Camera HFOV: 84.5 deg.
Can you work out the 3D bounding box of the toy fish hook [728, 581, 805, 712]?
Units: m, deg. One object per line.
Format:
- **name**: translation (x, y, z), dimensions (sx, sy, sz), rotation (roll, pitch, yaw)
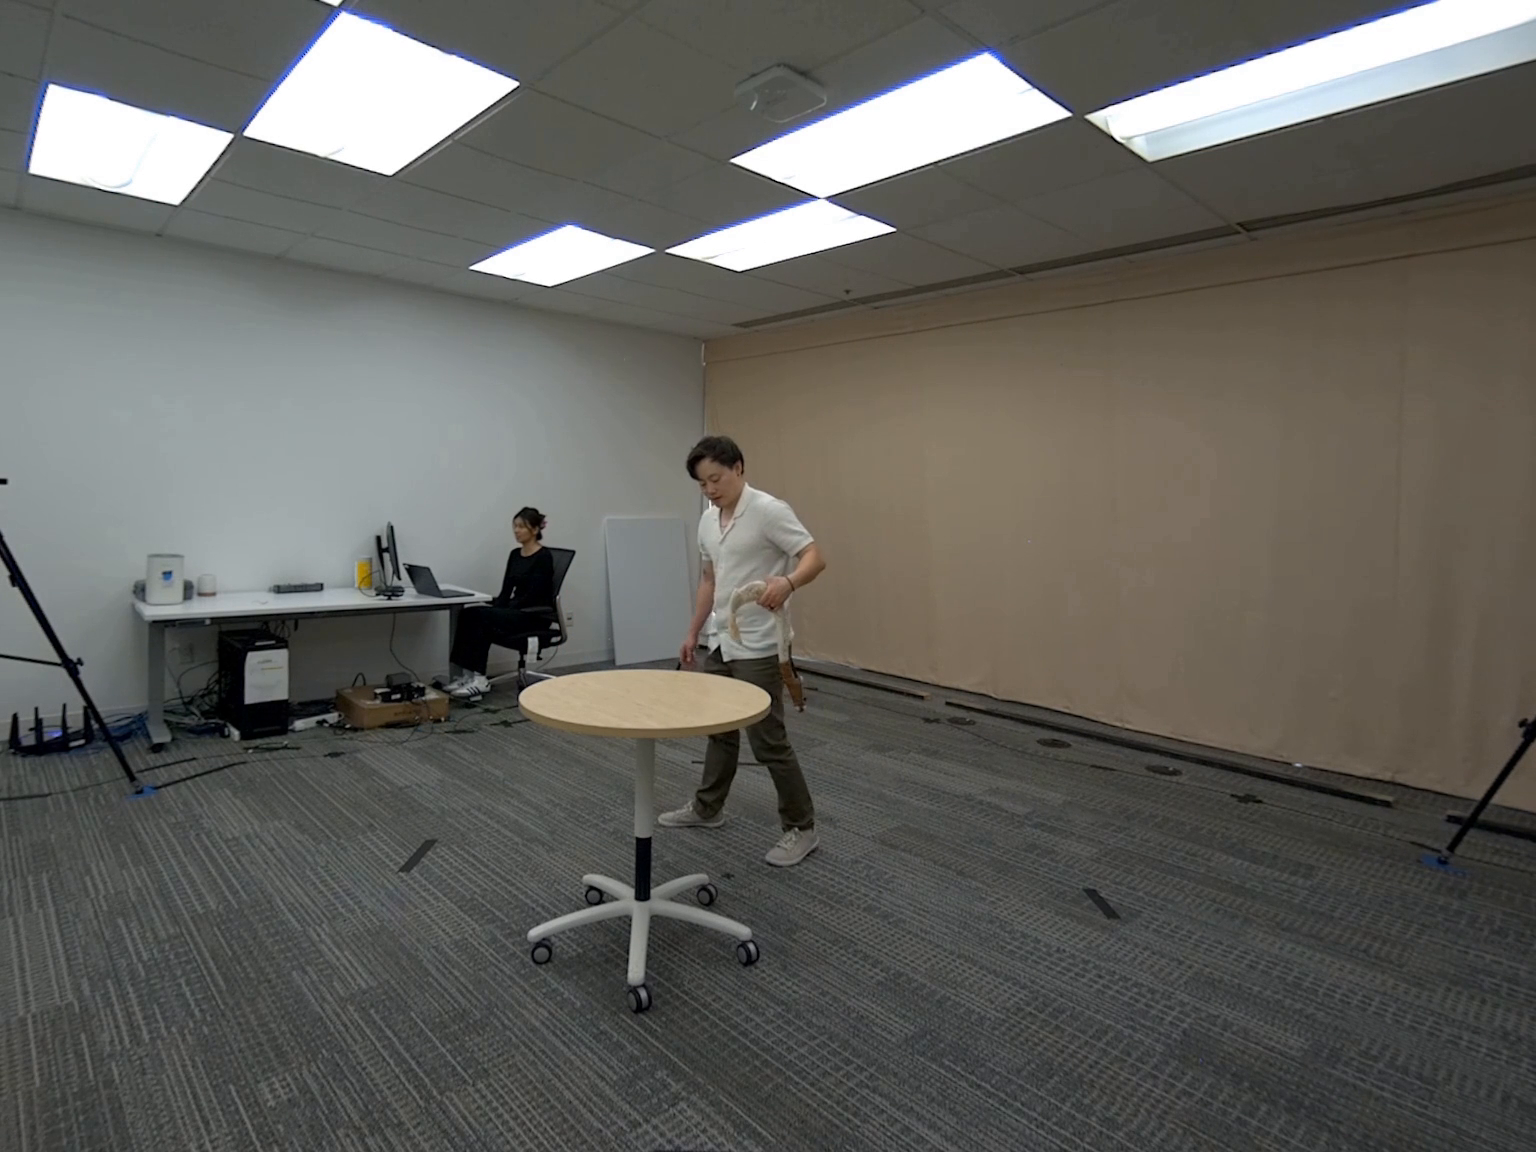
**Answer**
- **toy fish hook**: translation (-0.018, 0.268, 3.008), dimensions (0.223, 0.503, 0.049), rotation (-20, 7, -12)
